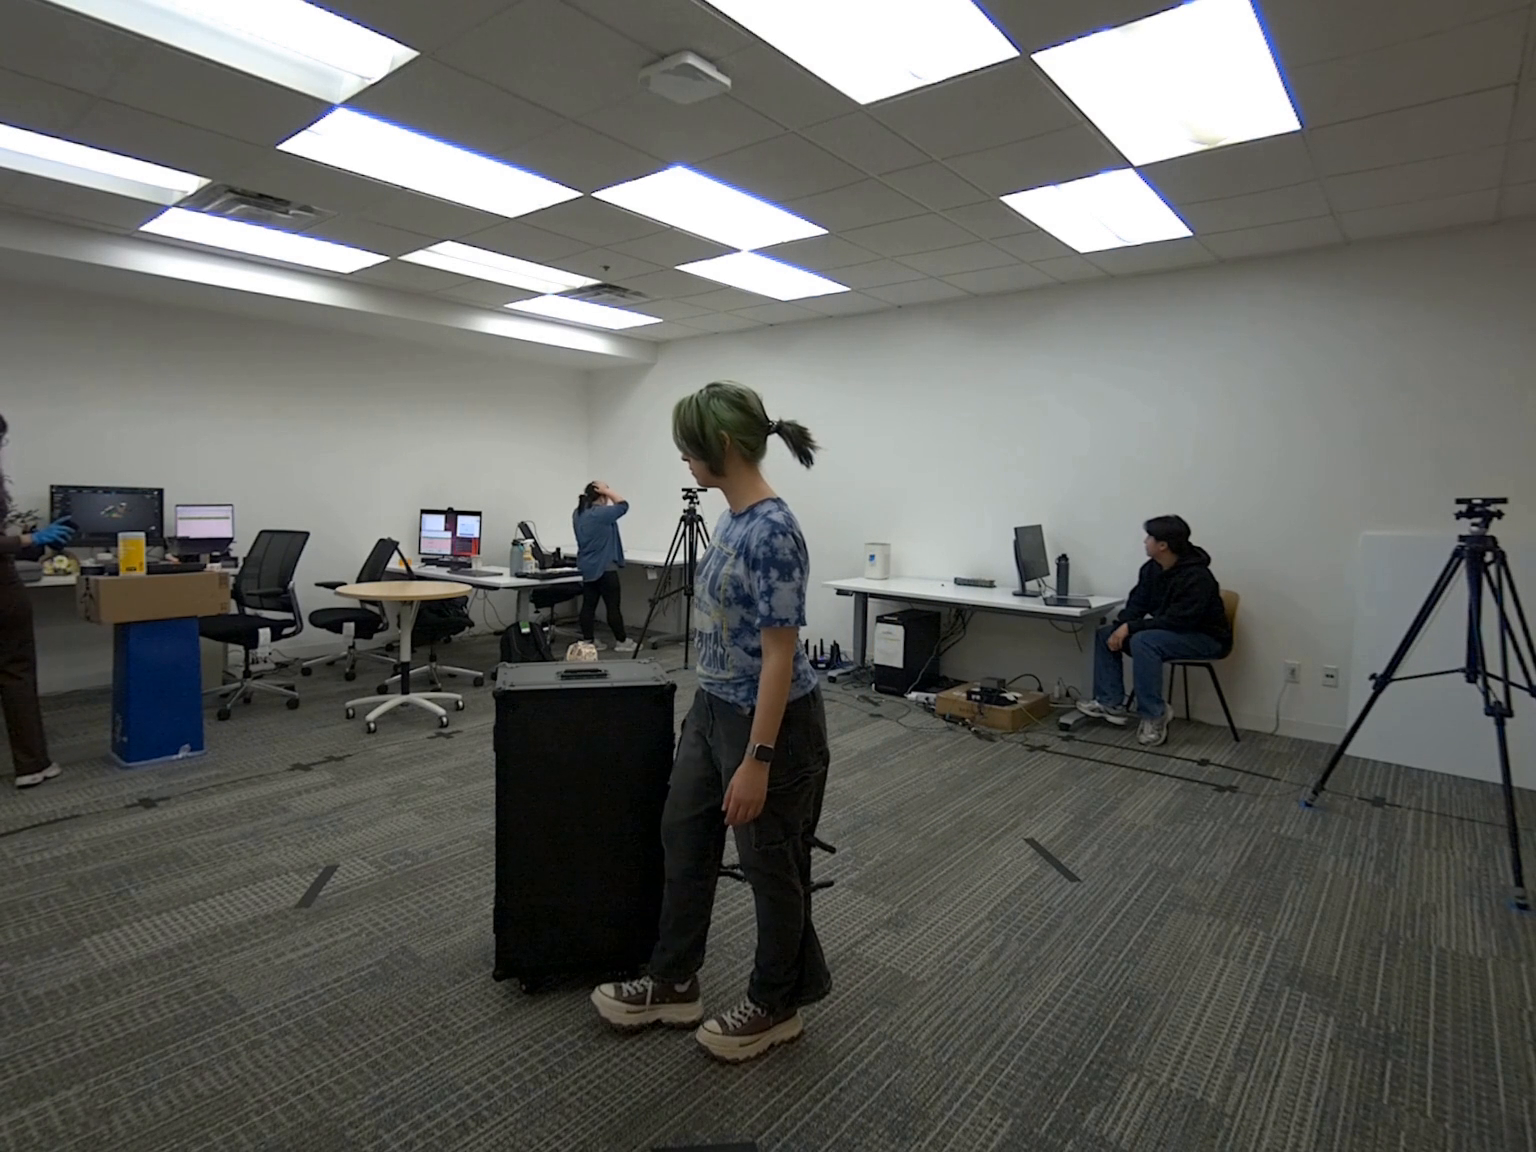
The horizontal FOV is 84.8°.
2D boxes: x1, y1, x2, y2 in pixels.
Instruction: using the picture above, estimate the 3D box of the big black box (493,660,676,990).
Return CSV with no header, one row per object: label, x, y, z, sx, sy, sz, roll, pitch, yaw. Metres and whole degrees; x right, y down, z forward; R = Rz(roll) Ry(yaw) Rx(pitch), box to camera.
big black box,-0.560,0.704,2.475,0.514,0.860,0.403,0,2,-14
